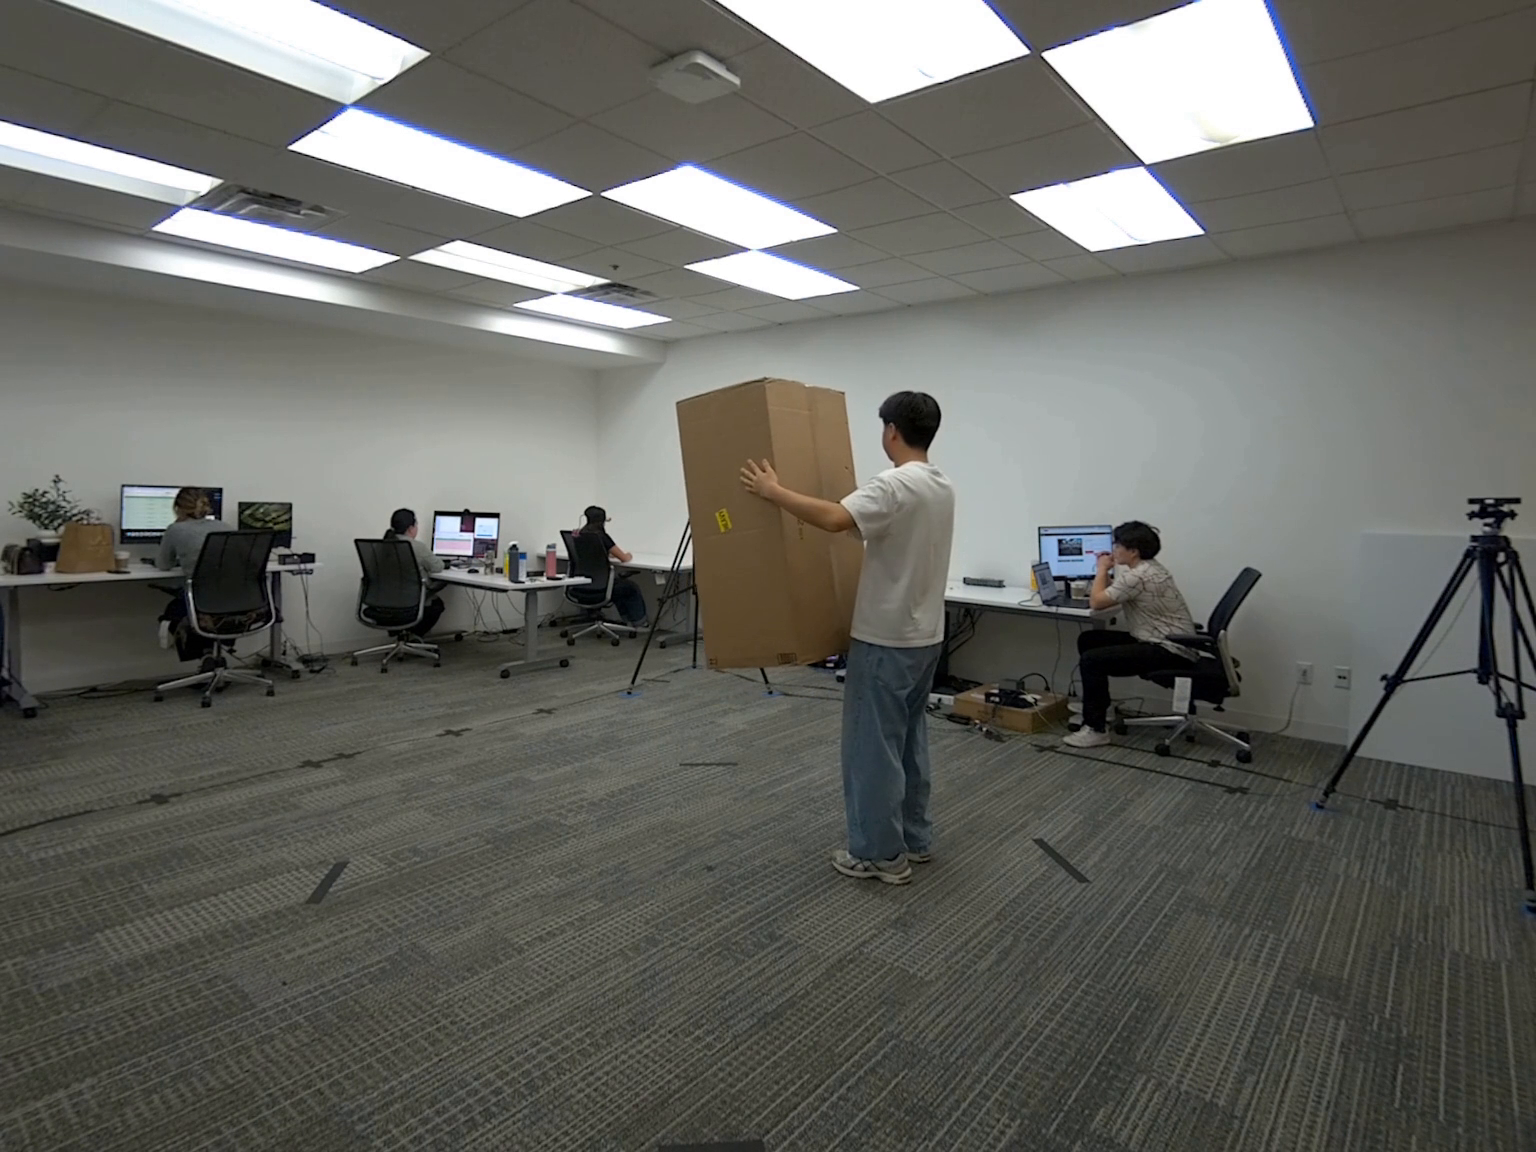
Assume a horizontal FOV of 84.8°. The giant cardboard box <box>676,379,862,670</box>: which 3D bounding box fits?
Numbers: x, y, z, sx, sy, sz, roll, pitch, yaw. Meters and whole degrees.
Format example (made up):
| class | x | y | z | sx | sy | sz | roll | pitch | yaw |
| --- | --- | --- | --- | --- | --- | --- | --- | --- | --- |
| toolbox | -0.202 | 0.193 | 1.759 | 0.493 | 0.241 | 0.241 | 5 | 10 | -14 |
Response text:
| class | x | y | z | sx | sy | sz | roll | pitch | yaw |
| --- | --- | --- | --- | --- | --- | --- | --- | --- | --- |
| giant cardboard box | 0.027 | -0.197 | 3.318 | 0.437 | 1.028 | 0.561 | -8 | -2 | 36 |
